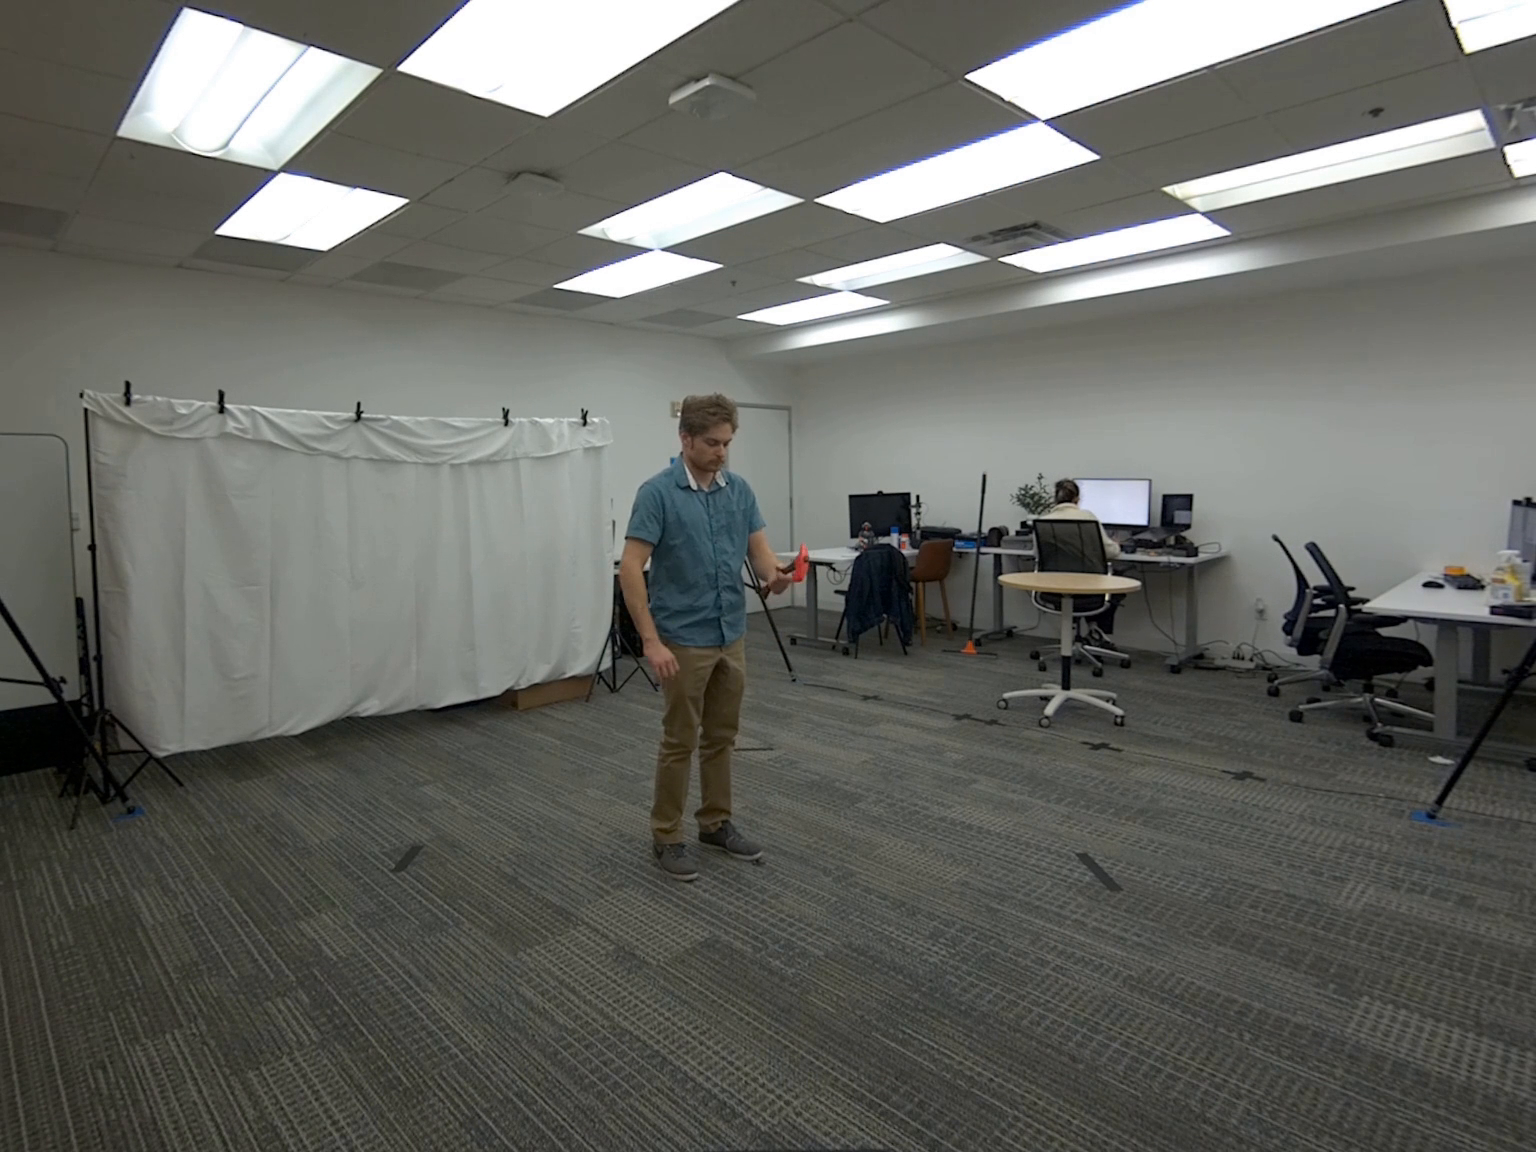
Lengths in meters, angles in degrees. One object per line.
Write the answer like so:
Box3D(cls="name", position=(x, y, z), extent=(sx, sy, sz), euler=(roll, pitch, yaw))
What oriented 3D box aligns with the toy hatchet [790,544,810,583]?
Box3D(cls="toy hatchet", position=(0.060, 0.036, 2.815), extent=(0.029, 0.135, 0.269), euler=(16, -48, -29))
